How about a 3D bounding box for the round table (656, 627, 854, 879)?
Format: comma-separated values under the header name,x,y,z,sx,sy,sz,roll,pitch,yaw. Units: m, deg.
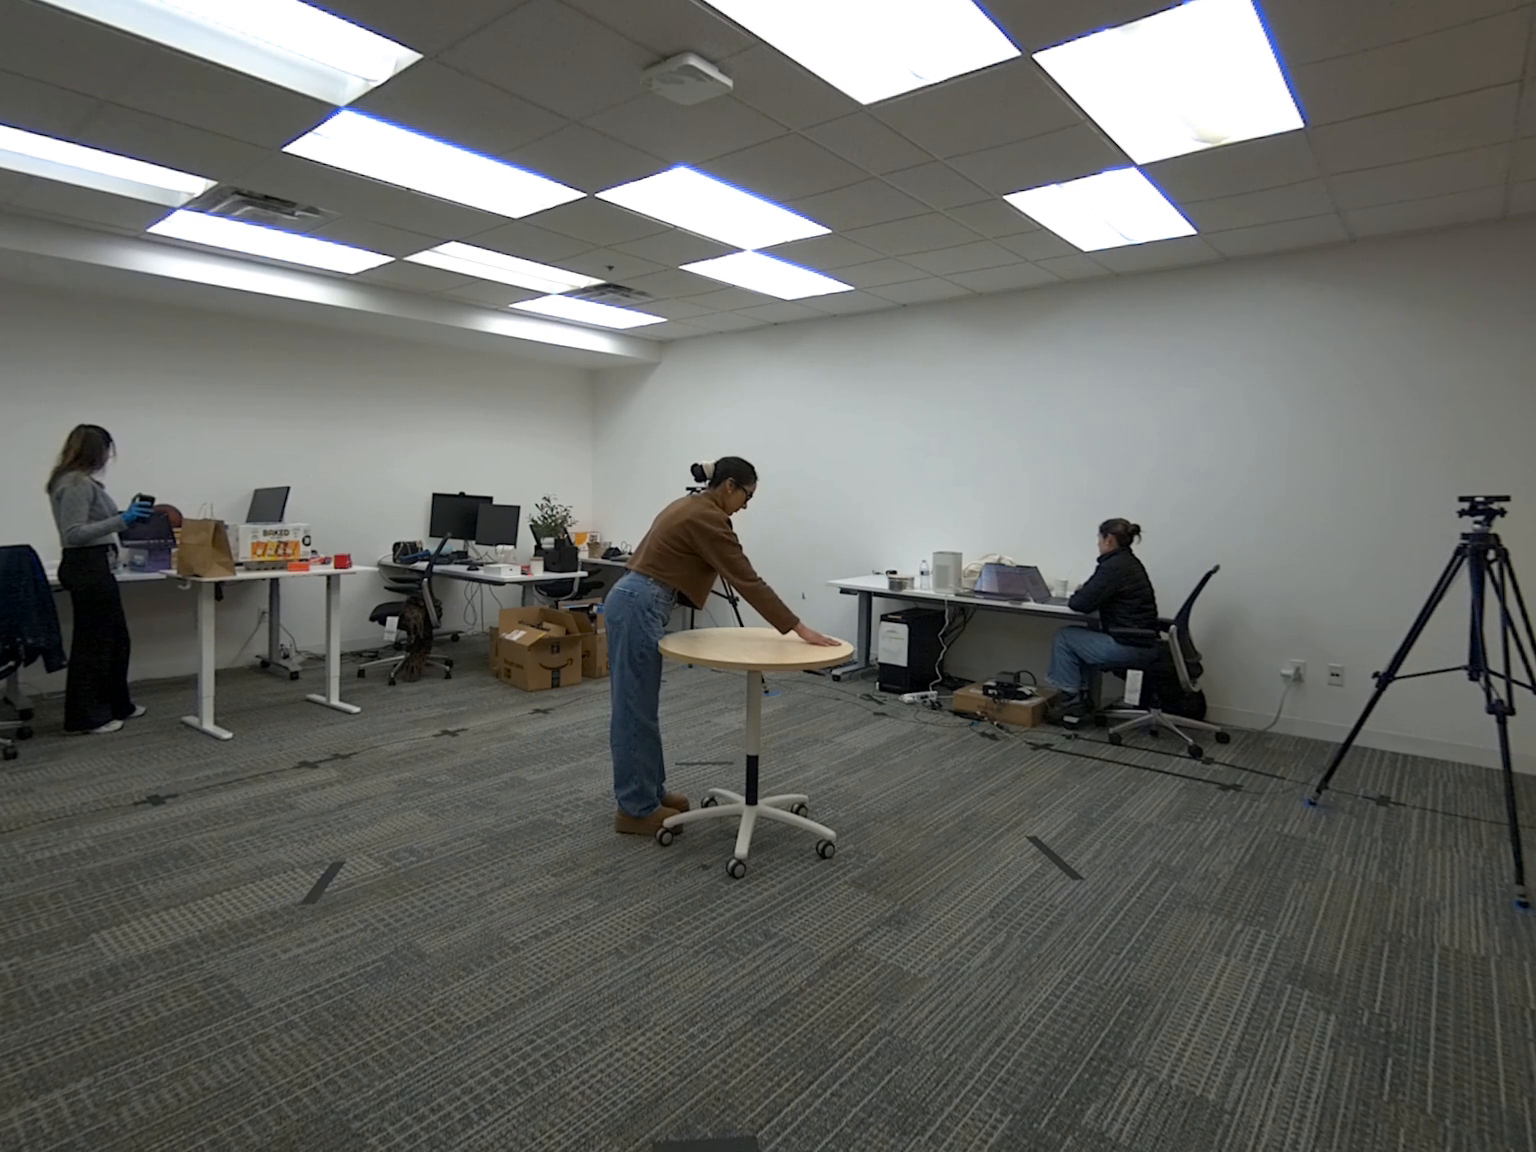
name,x,y,z,sx,sy,sz,roll,pitch,yaw
round table,-0.065,0.656,3.365,0.763,0.792,0.767,1,4,-2
